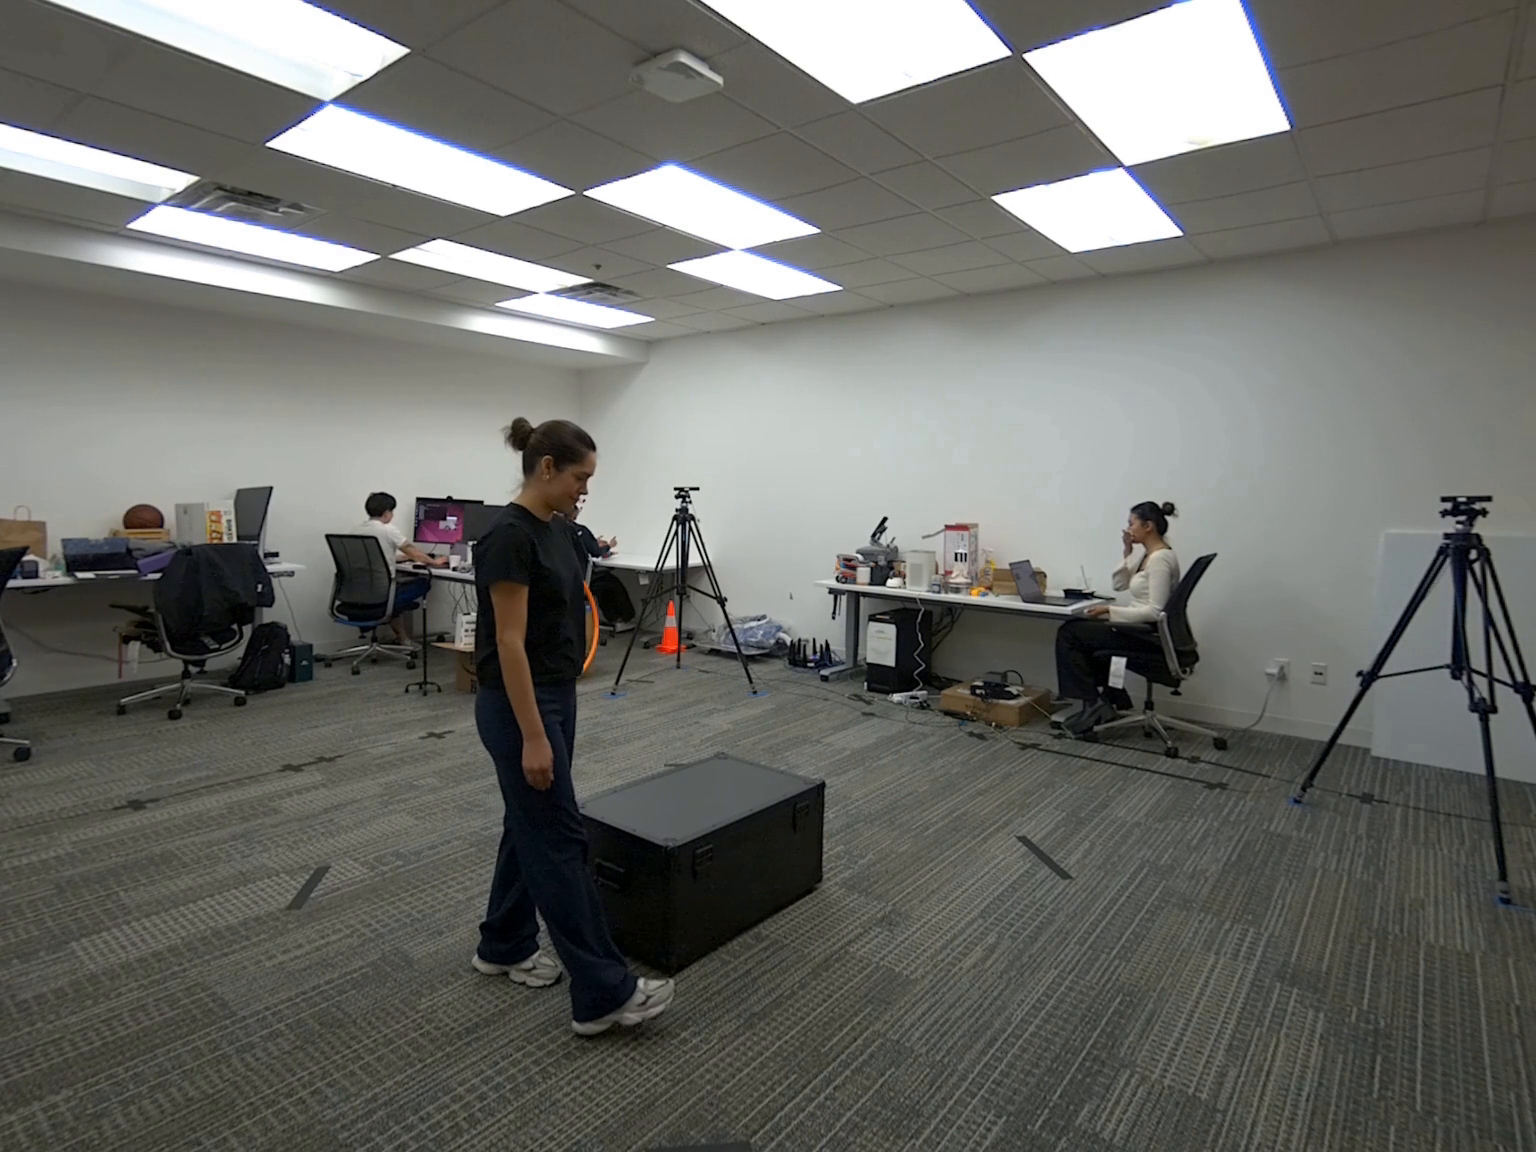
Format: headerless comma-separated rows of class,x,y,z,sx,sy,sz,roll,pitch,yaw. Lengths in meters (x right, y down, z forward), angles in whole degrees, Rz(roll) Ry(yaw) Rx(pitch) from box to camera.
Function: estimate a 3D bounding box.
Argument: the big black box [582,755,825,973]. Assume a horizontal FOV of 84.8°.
big black box,-0.195,0.902,2.865,0.539,0.394,0.837,5,7,39
